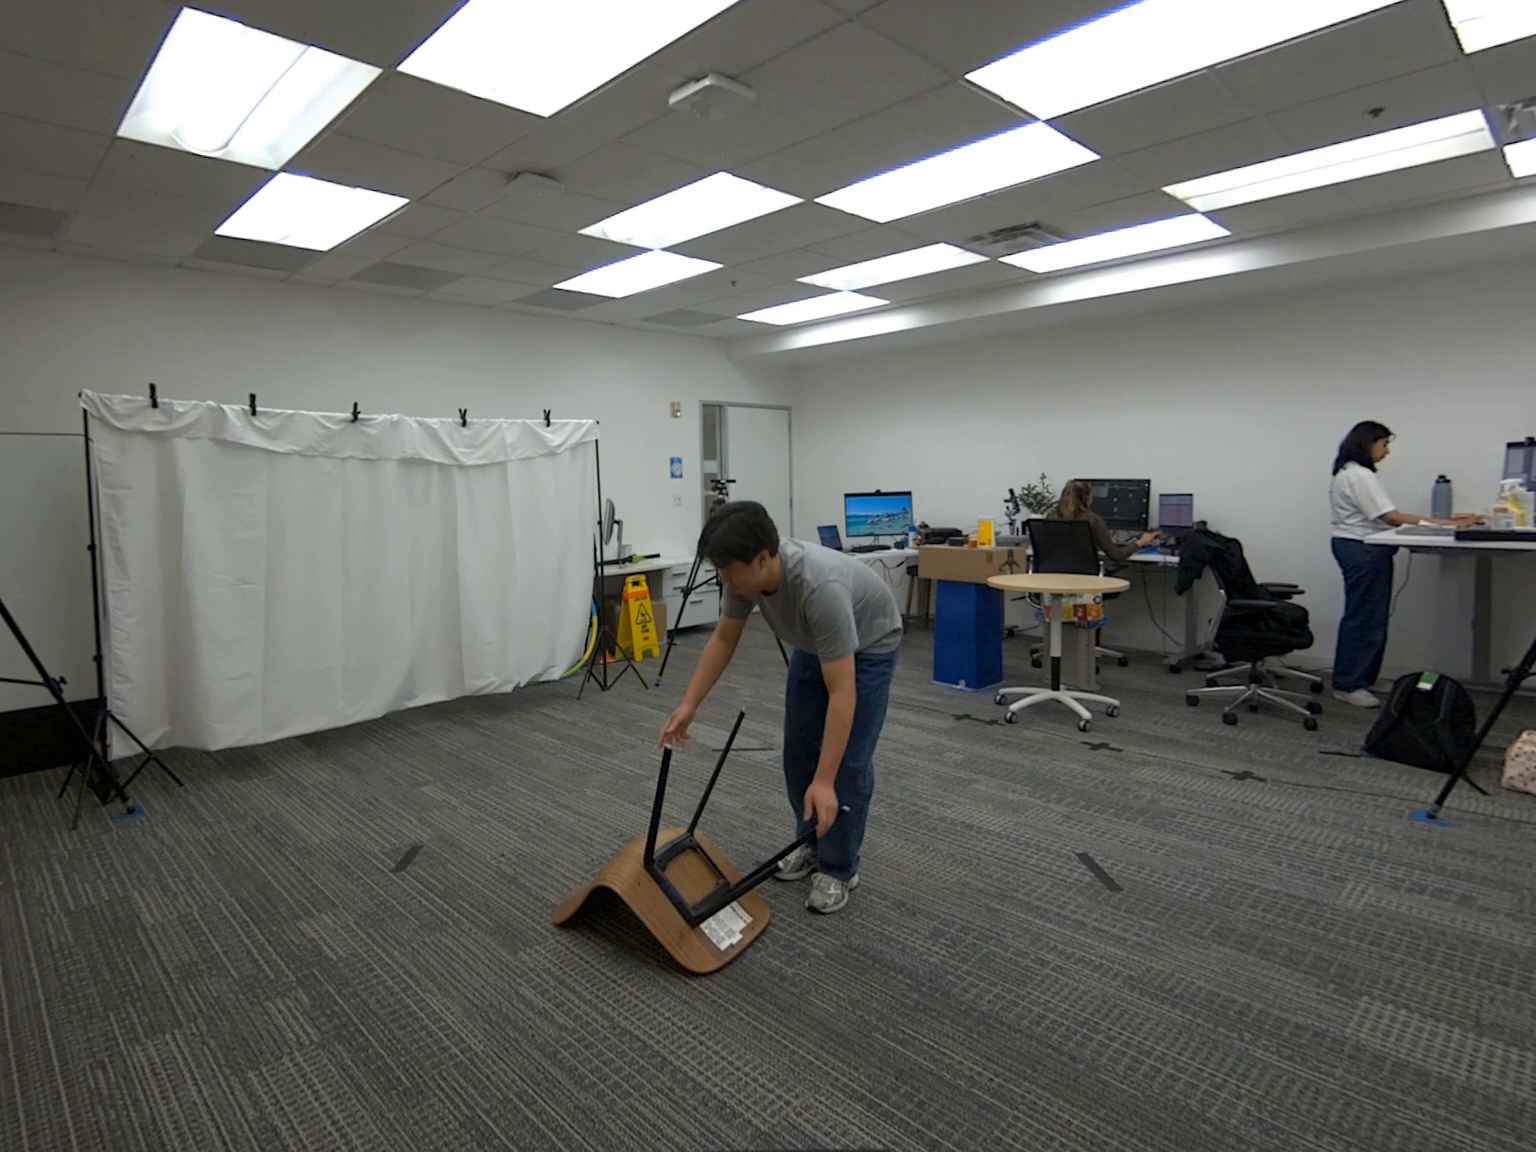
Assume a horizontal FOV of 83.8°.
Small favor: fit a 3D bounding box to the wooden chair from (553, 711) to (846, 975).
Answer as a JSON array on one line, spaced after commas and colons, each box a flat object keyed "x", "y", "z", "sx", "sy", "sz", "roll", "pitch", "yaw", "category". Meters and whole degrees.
[{"x": -0.231, "y": 0.936, "z": 2.641, "sx": 0.536, "sy": 0.875, "sz": 0.468, "roll": 45, "pitch": 23, "yaw": 18, "category": "wooden chair"}]
